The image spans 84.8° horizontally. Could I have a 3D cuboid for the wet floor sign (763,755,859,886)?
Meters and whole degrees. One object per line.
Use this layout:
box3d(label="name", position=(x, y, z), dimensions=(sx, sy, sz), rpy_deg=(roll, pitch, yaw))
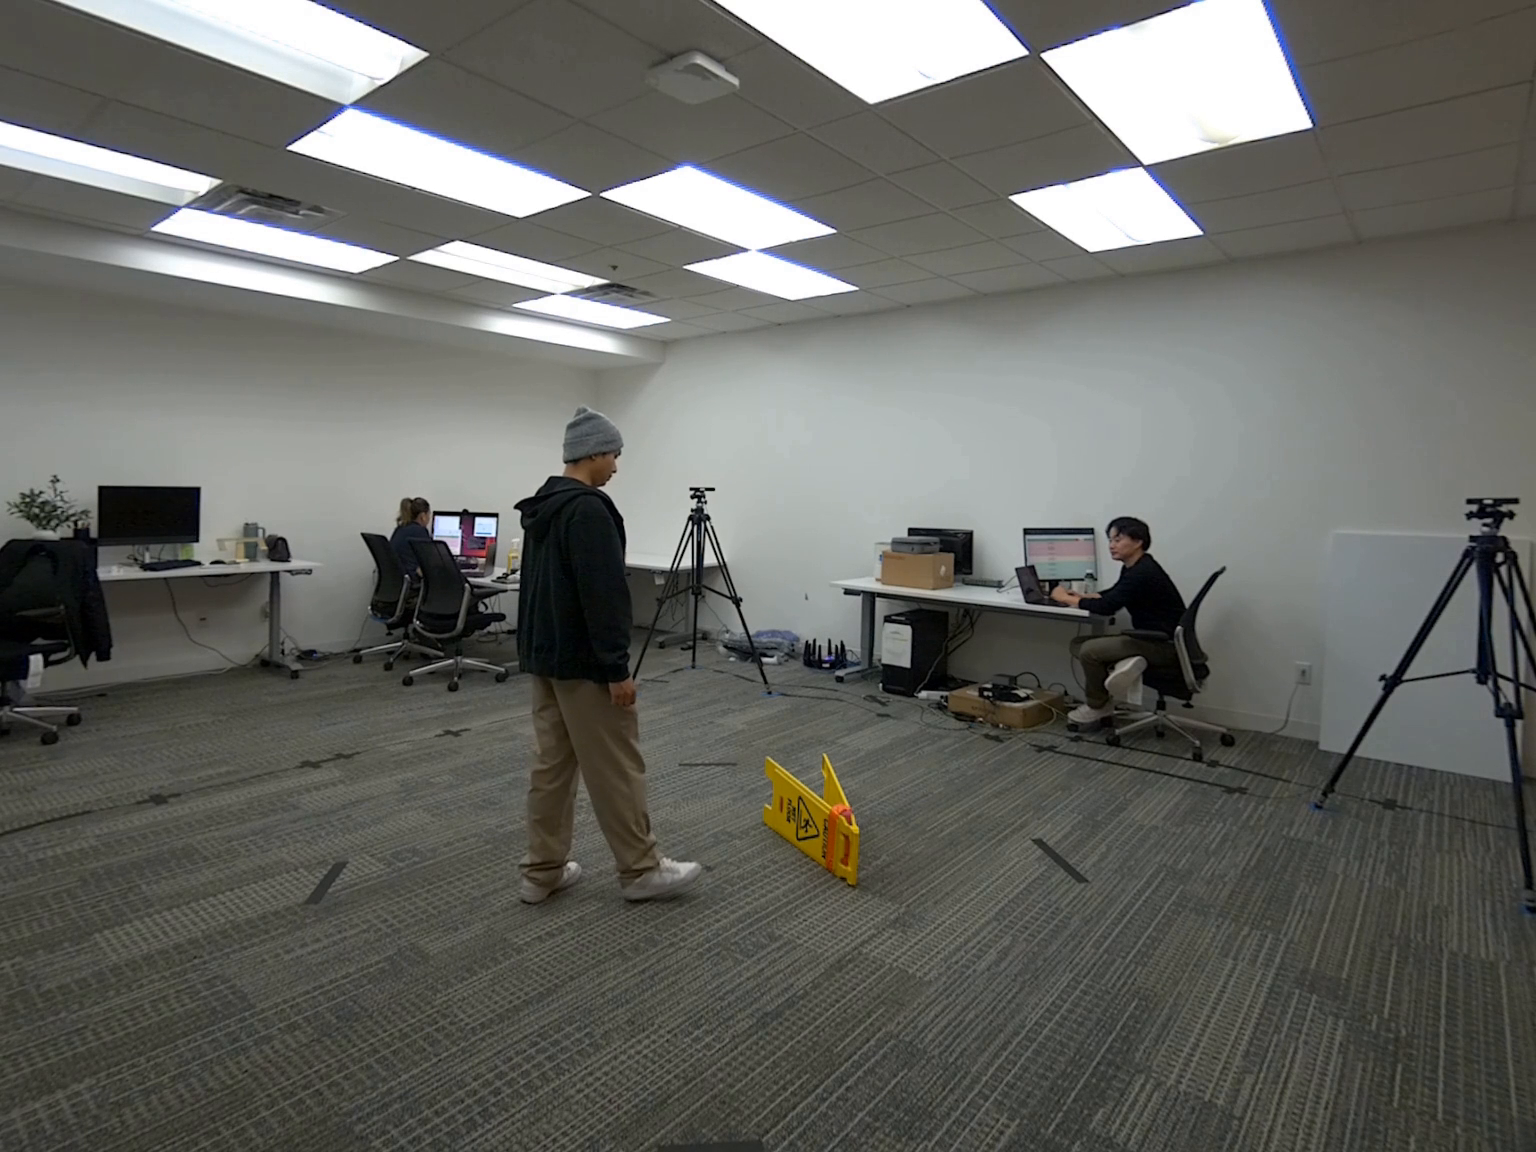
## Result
box3d(label="wet floor sign", position=(0.205, 0.932, 3.276), dimensions=(0.285, 0.280, 0.661), rpy_deg=(0, 9, -17))
